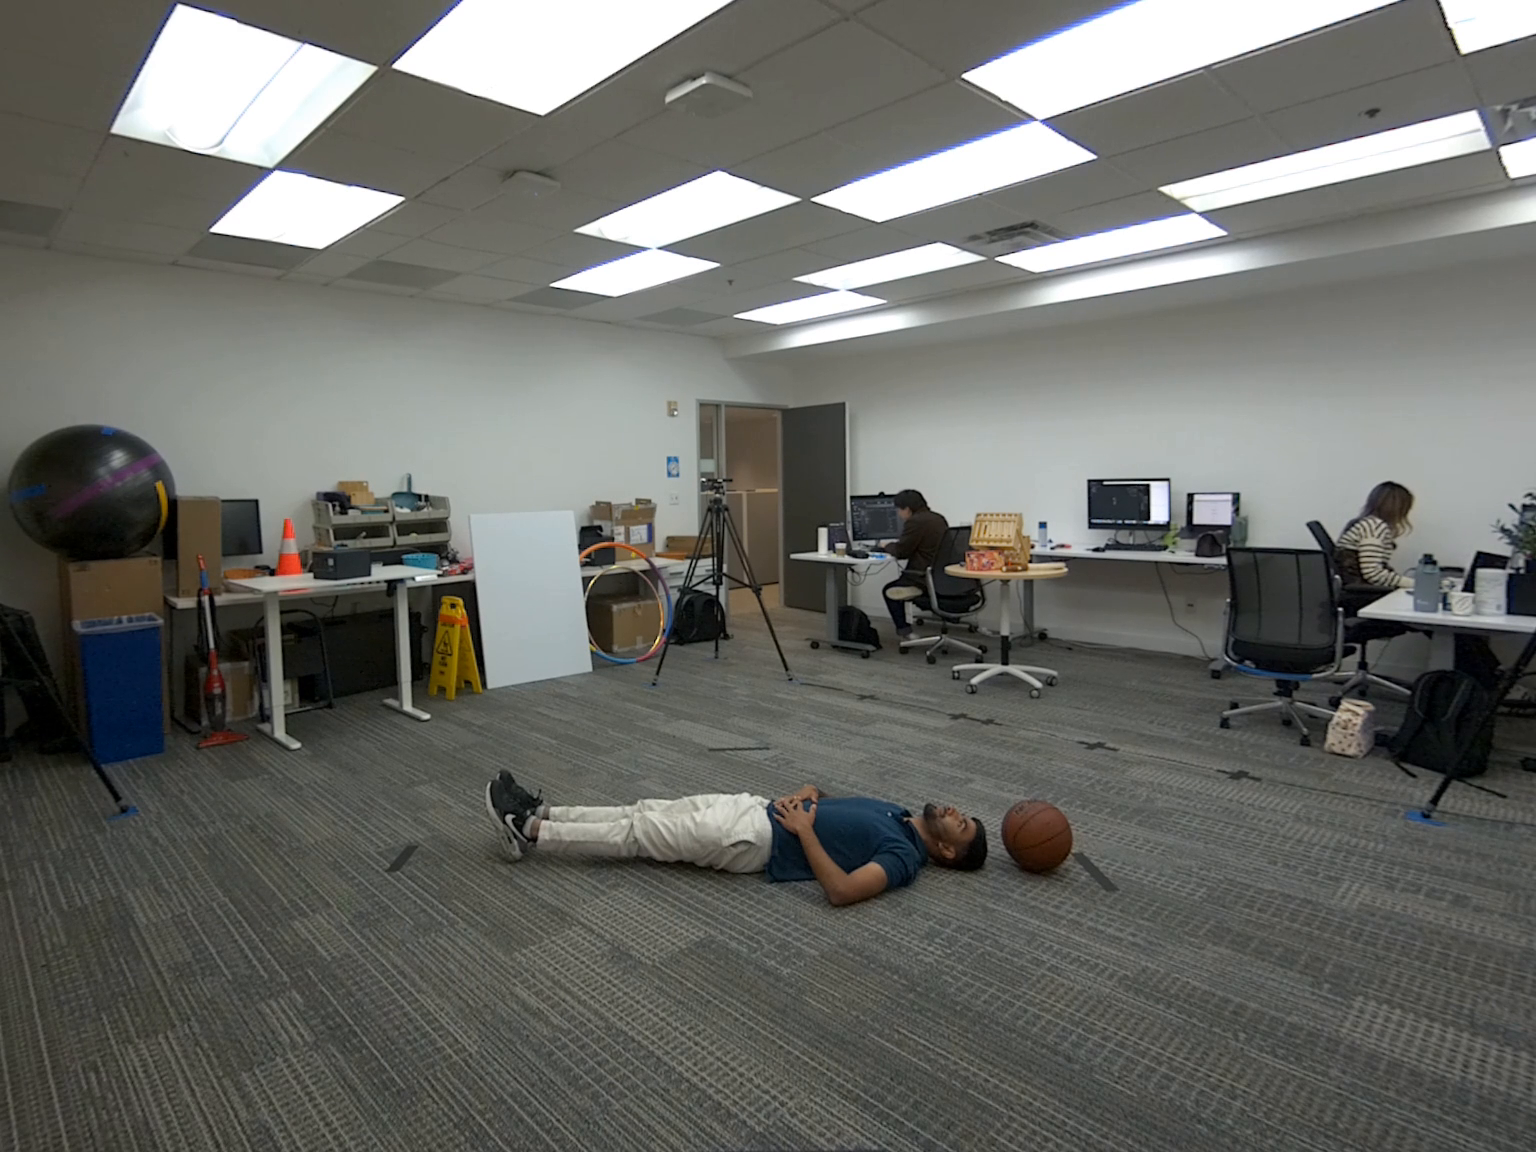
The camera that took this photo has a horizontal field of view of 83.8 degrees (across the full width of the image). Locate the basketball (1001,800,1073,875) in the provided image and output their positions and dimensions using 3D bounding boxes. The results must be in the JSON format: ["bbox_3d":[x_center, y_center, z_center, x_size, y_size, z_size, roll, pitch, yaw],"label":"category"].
[{"bbox_3d":[0.958,0.916,3.027,0.236,0.235,0.237,-1,5,-2],"label":"basketball"}]
